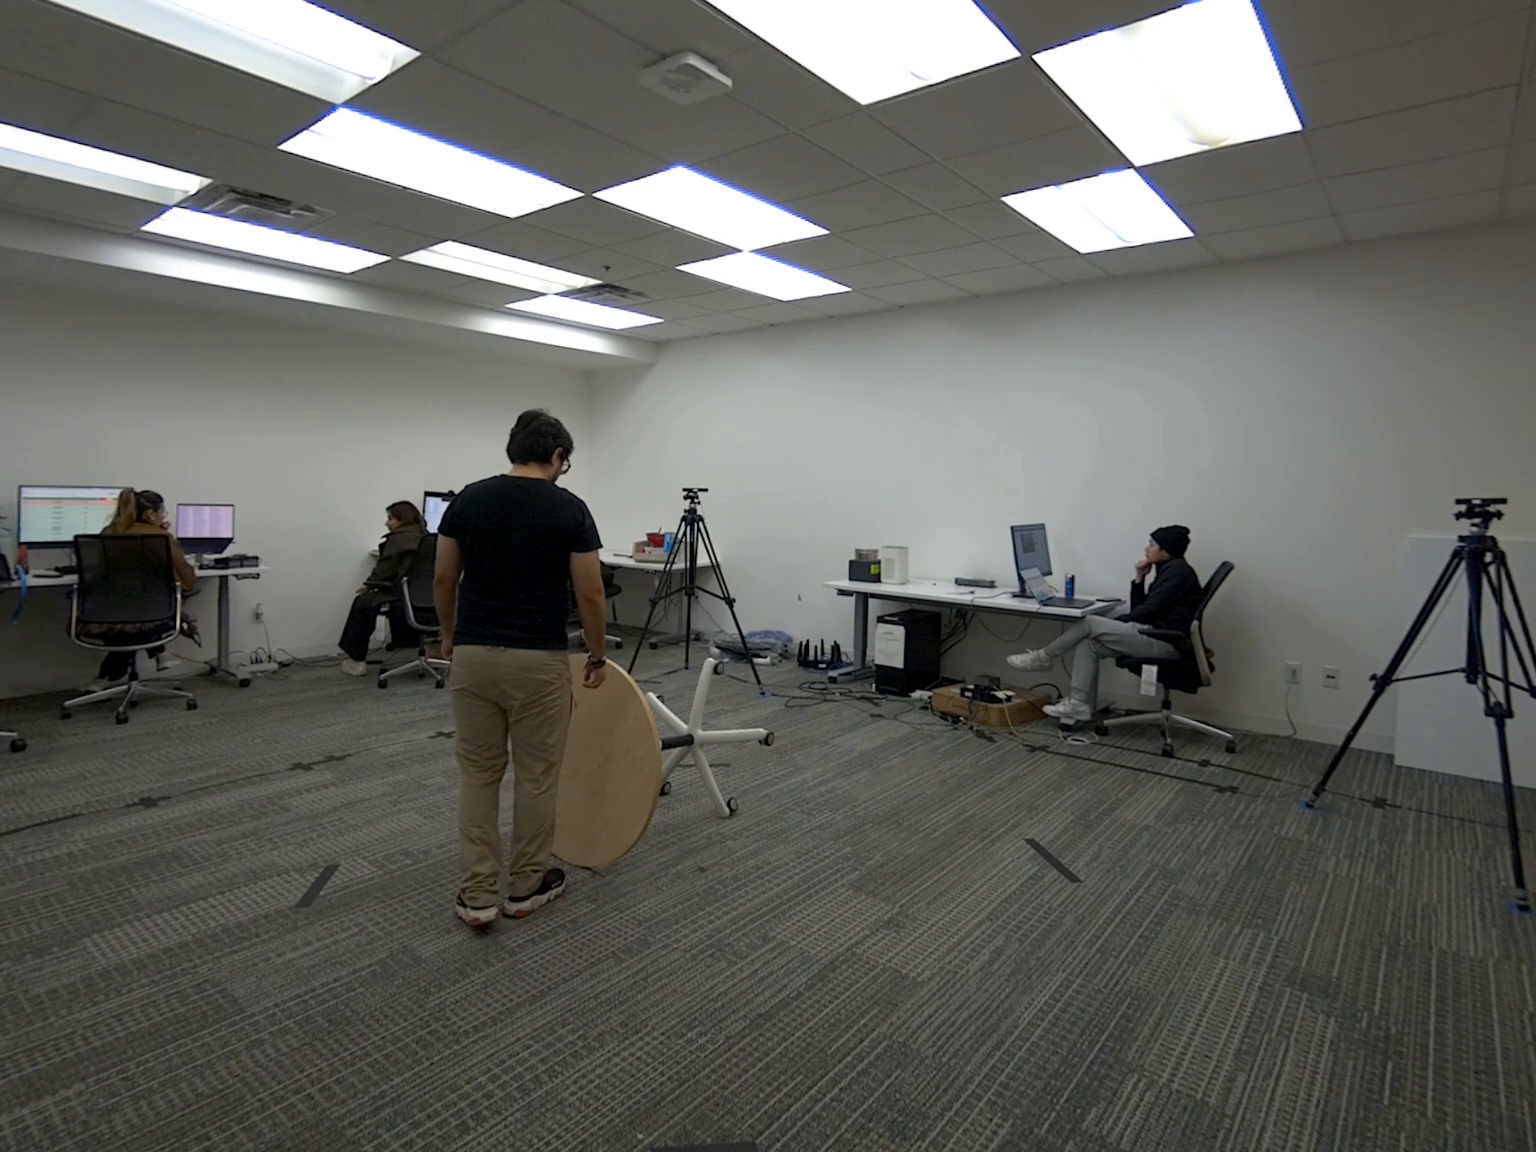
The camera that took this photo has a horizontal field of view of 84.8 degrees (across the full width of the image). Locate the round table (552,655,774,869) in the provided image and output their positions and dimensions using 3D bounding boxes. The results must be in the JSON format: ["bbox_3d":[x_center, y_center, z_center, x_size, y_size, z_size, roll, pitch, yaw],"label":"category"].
[{"bbox_3d":[-0.489,0.697,3.467,0.811,0.787,0.760,4,-2,36],"label":"round table"}]
